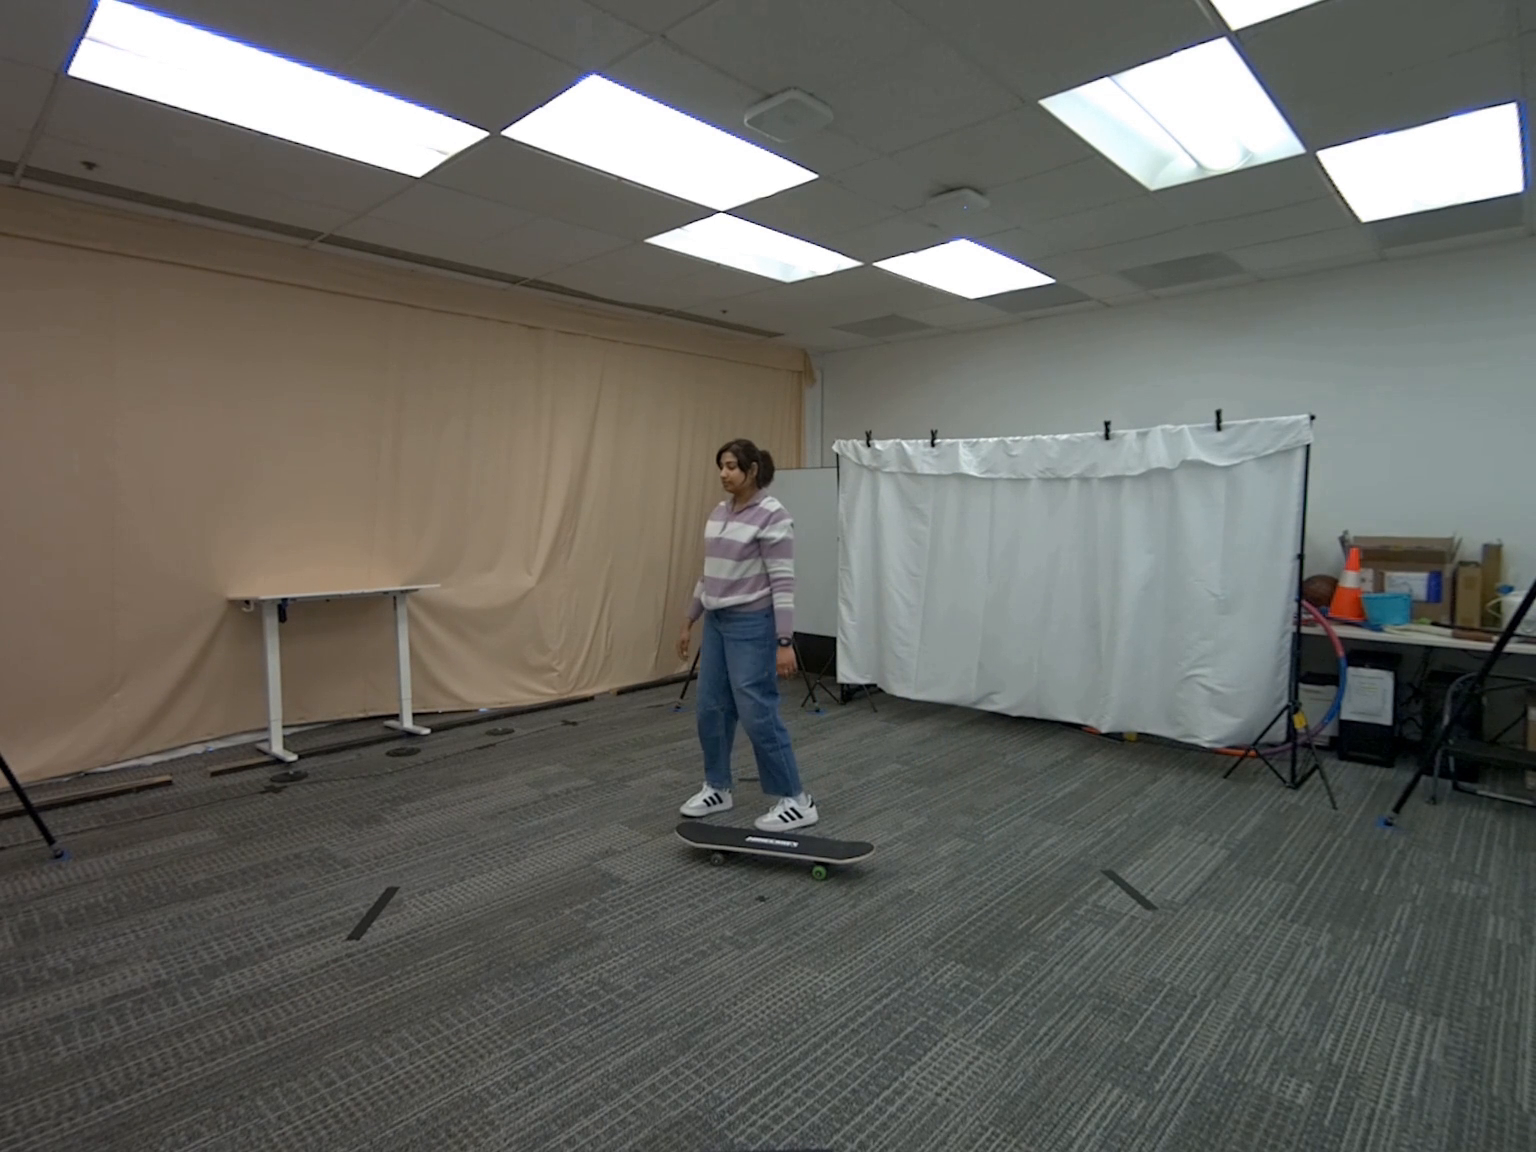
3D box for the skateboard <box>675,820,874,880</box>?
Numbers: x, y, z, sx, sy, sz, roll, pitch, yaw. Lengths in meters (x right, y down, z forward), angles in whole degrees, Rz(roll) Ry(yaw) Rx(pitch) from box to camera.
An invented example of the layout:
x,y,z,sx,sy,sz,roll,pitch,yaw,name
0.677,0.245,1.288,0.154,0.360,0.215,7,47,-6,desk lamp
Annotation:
x,y,z,sx,sy,sz,roll,pitch,yaw,name
0.019,1.059,3.263,0.799,0.110,0.191,1,5,16,skateboard
